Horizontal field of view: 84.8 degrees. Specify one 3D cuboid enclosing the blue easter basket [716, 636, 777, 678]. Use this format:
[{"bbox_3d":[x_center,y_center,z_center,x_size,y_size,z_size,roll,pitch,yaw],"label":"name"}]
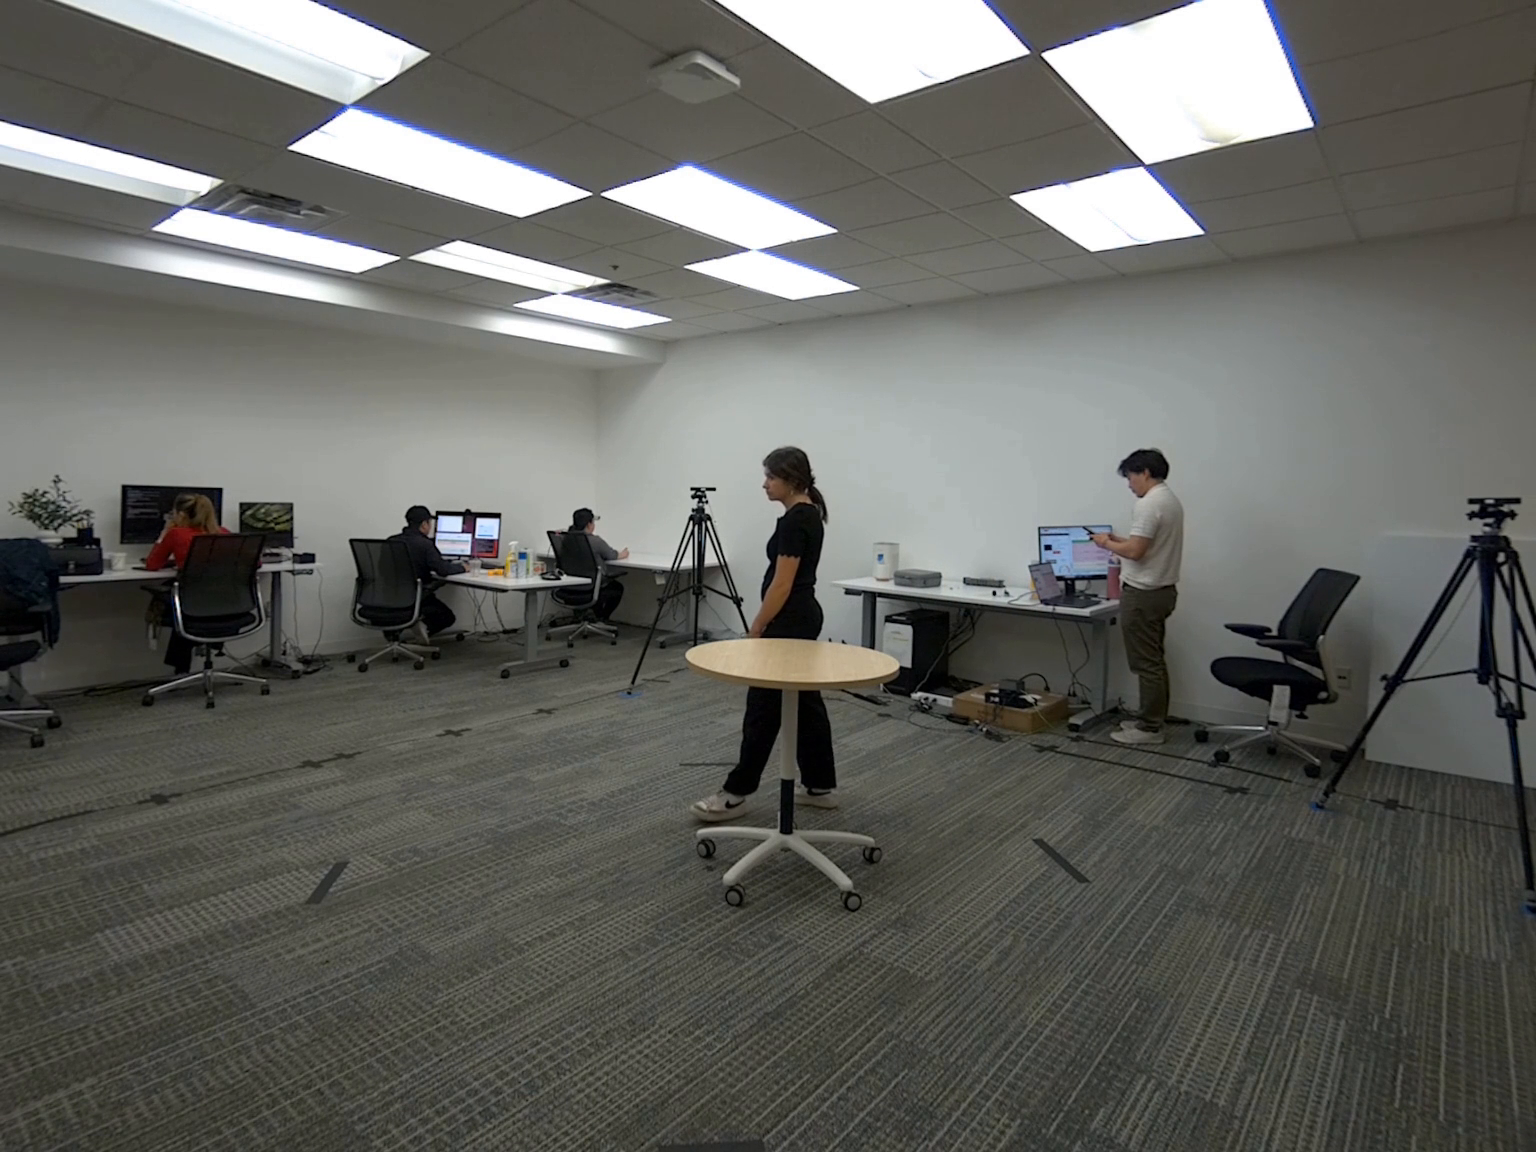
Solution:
[{"bbox_3d":[-0.104,0.355,3.768,0.243,0.157,0.243,-6,-3,-2],"label":"blue easter basket"}]
